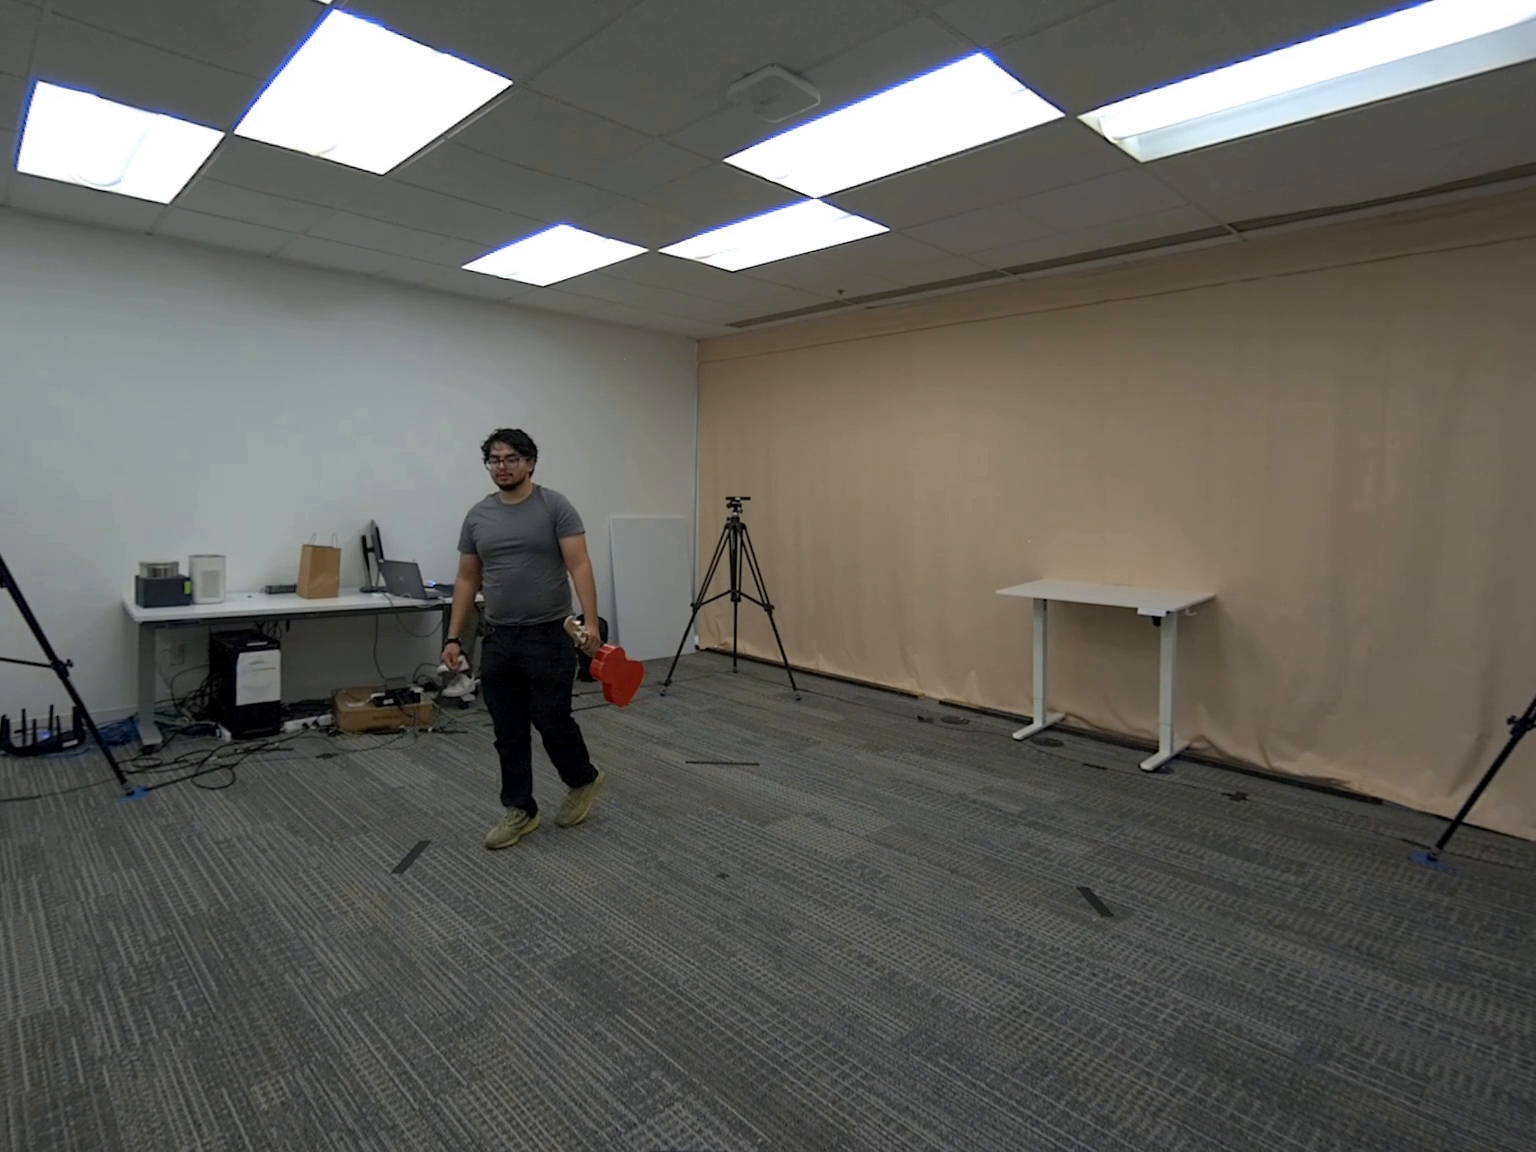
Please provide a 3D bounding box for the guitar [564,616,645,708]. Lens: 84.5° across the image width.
[{"bbox_3d":[-0.644,0.338,3.199,0.072,0.194,0.483,12,-21,28],"label":"guitar"}]
